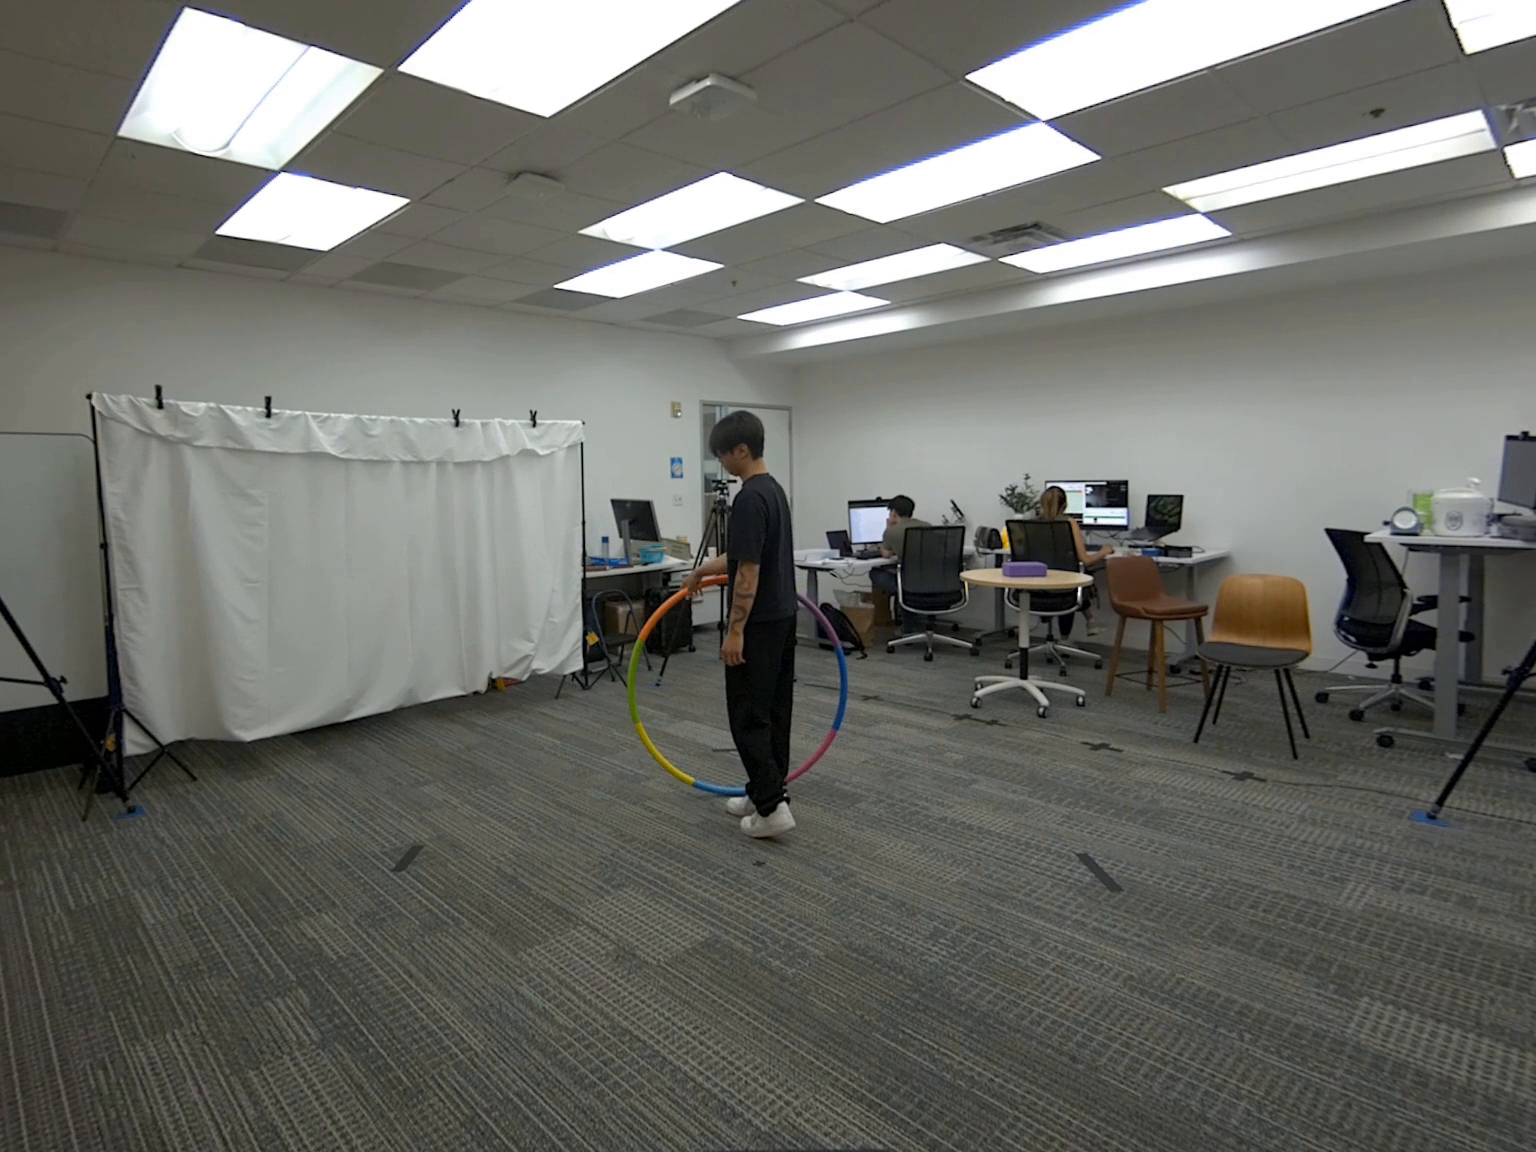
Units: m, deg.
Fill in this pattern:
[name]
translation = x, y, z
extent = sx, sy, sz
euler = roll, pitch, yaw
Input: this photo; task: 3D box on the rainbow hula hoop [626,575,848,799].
[rainbow hula hoop]
translation = -0.133, 0.489, 3.825
extent = 0.977, 0.982, 0.035
euler = -1, -4, -2
